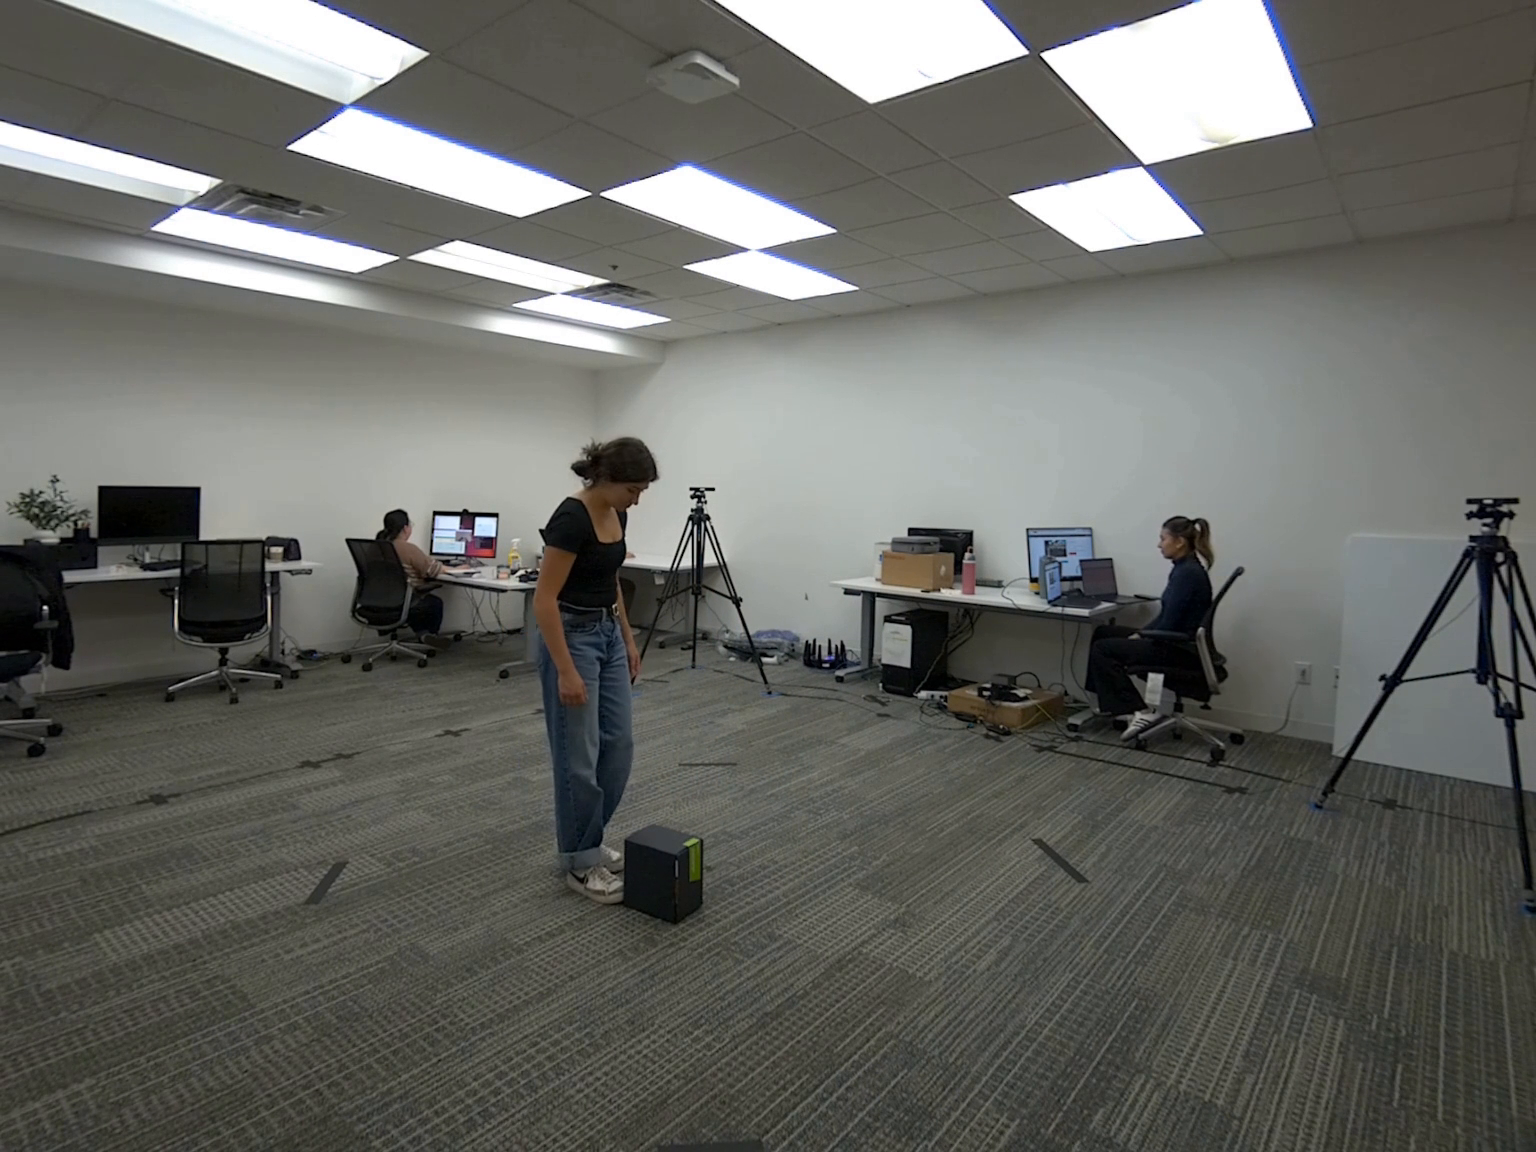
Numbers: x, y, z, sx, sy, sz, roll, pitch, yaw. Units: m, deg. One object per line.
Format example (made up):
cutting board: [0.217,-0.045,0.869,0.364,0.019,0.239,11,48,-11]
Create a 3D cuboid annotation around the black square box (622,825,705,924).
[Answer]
black square box: [-0.357,0.970,2.809,0.223,0.227,0.152,4,4,31]
